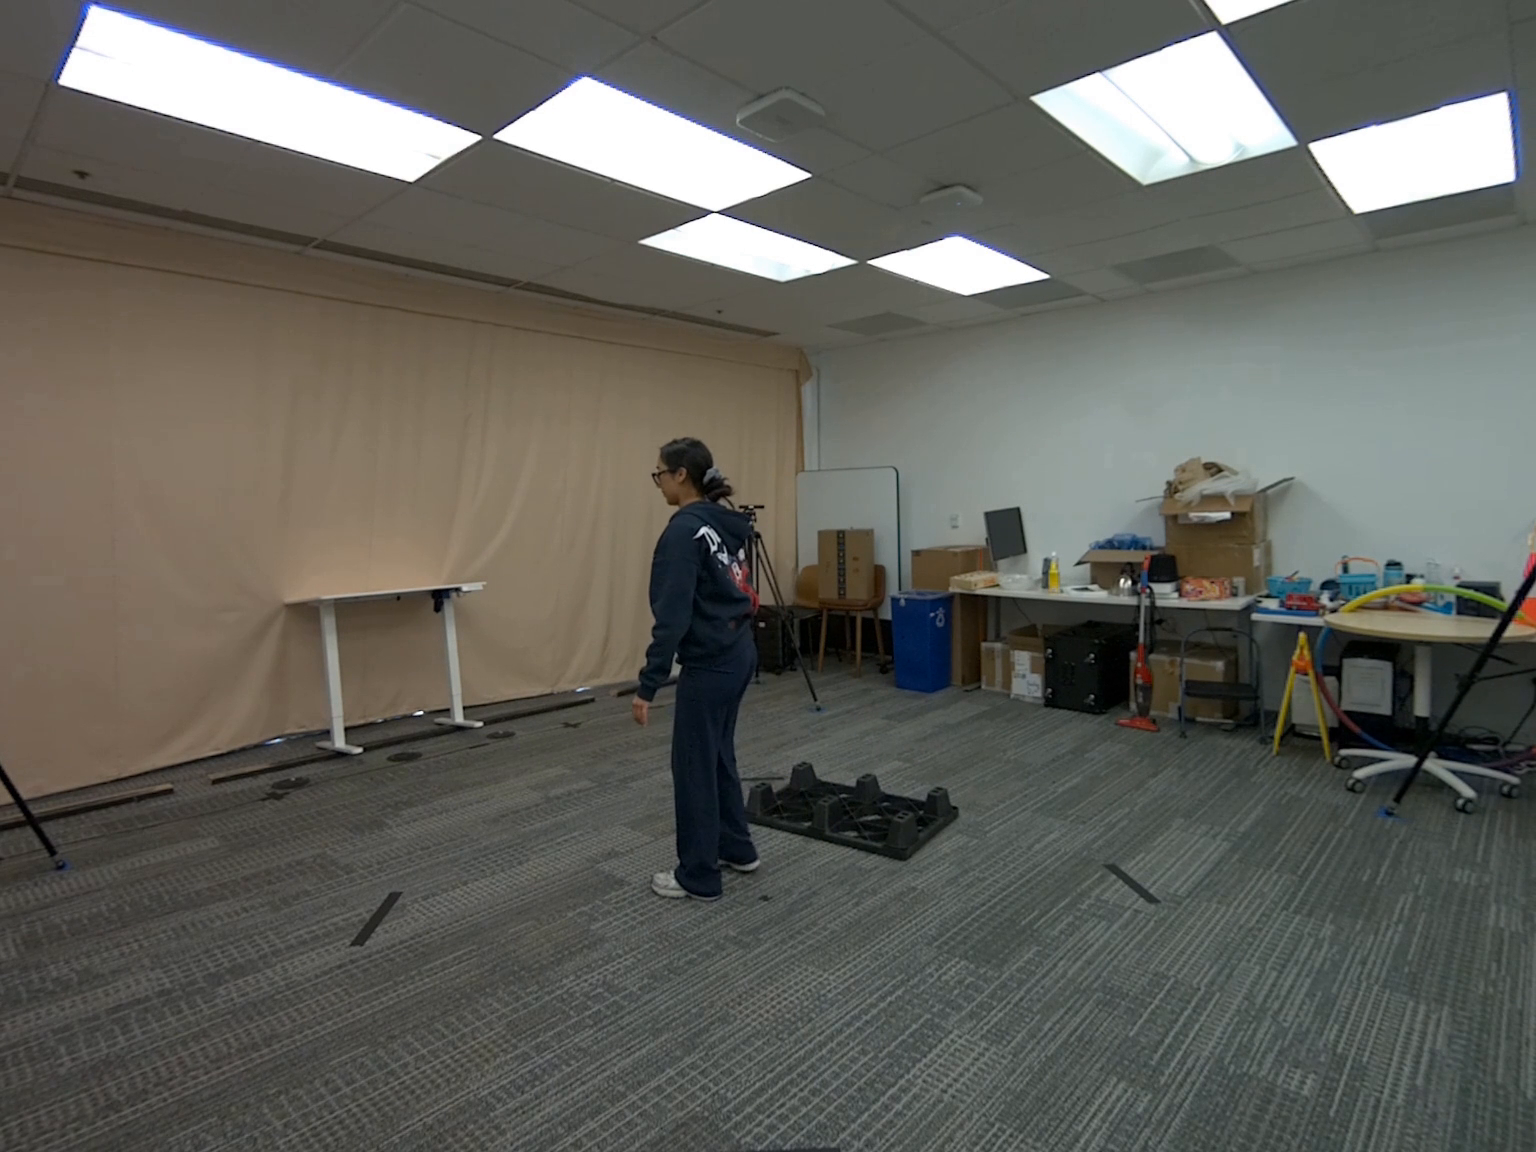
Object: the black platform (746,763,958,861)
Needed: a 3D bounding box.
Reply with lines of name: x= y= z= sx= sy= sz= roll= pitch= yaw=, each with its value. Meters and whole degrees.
black platform: x=0.355 y=1.007 z=3.727 sx=0.830 sy=0.143 sz=0.588 roll=2 pitch=5 yaw=34
